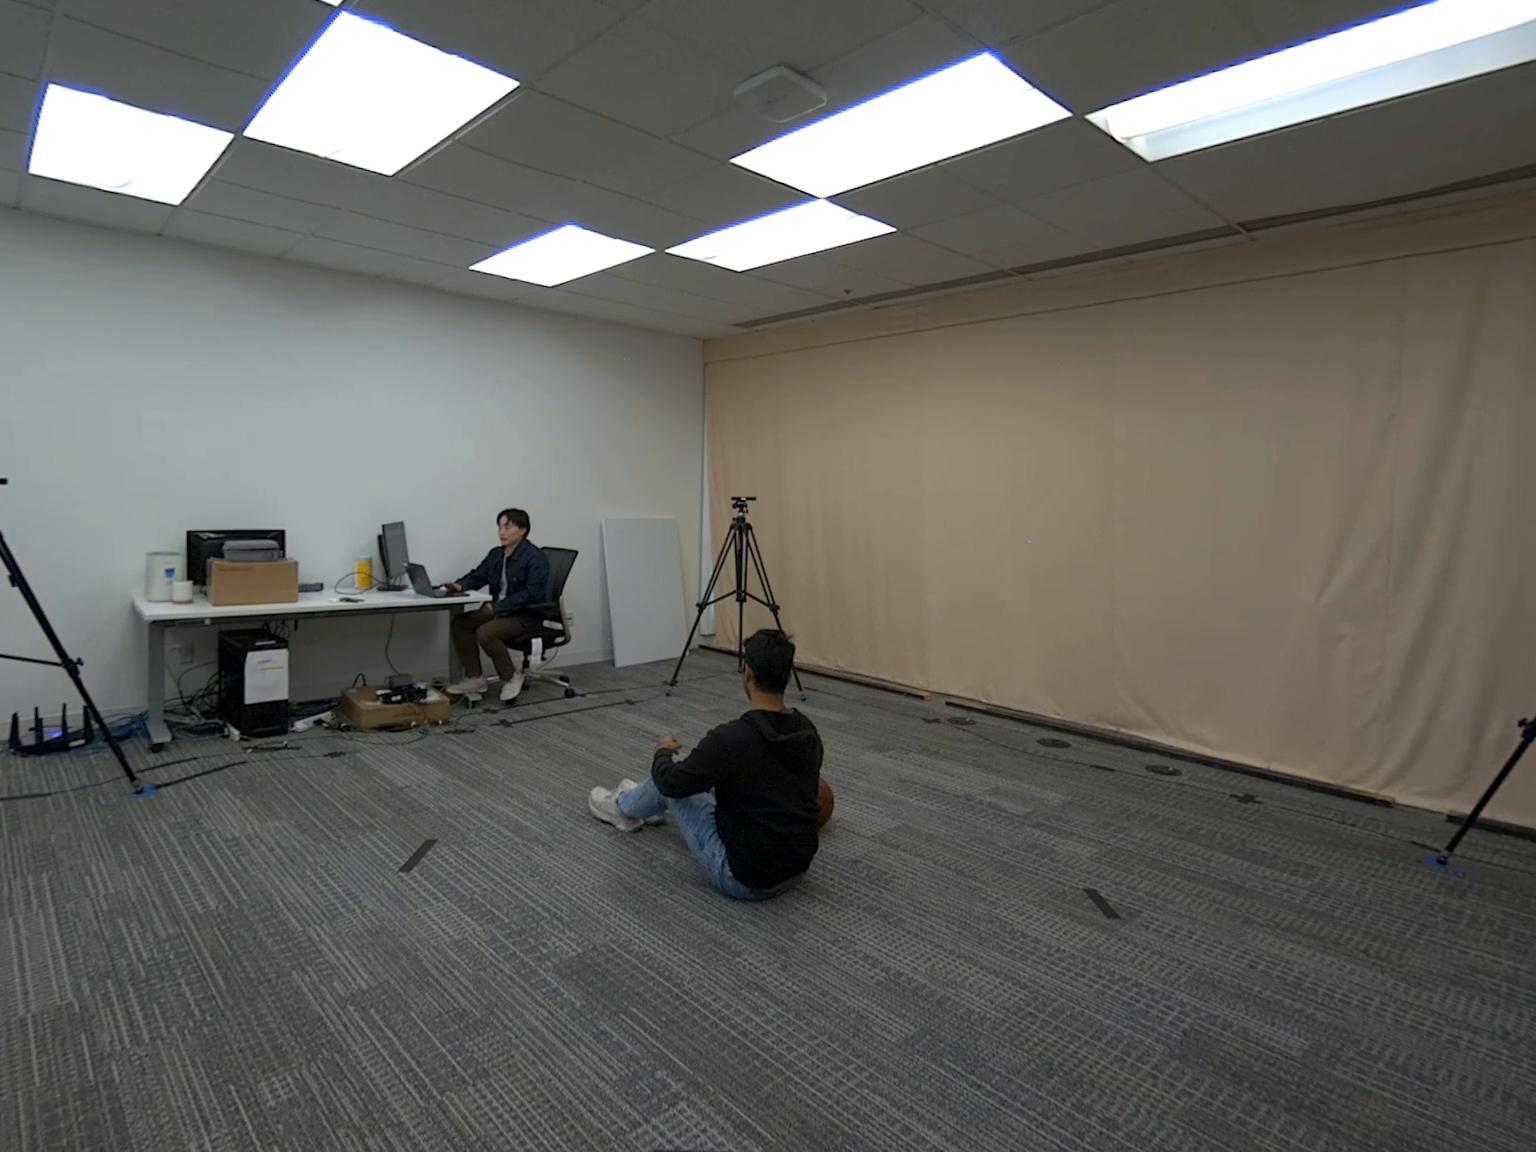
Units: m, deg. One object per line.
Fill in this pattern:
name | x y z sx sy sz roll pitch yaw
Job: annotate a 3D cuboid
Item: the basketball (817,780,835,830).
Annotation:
basketball | 0.154 0.954 3.562 0.236 0.235 0.237 1 4 -1
